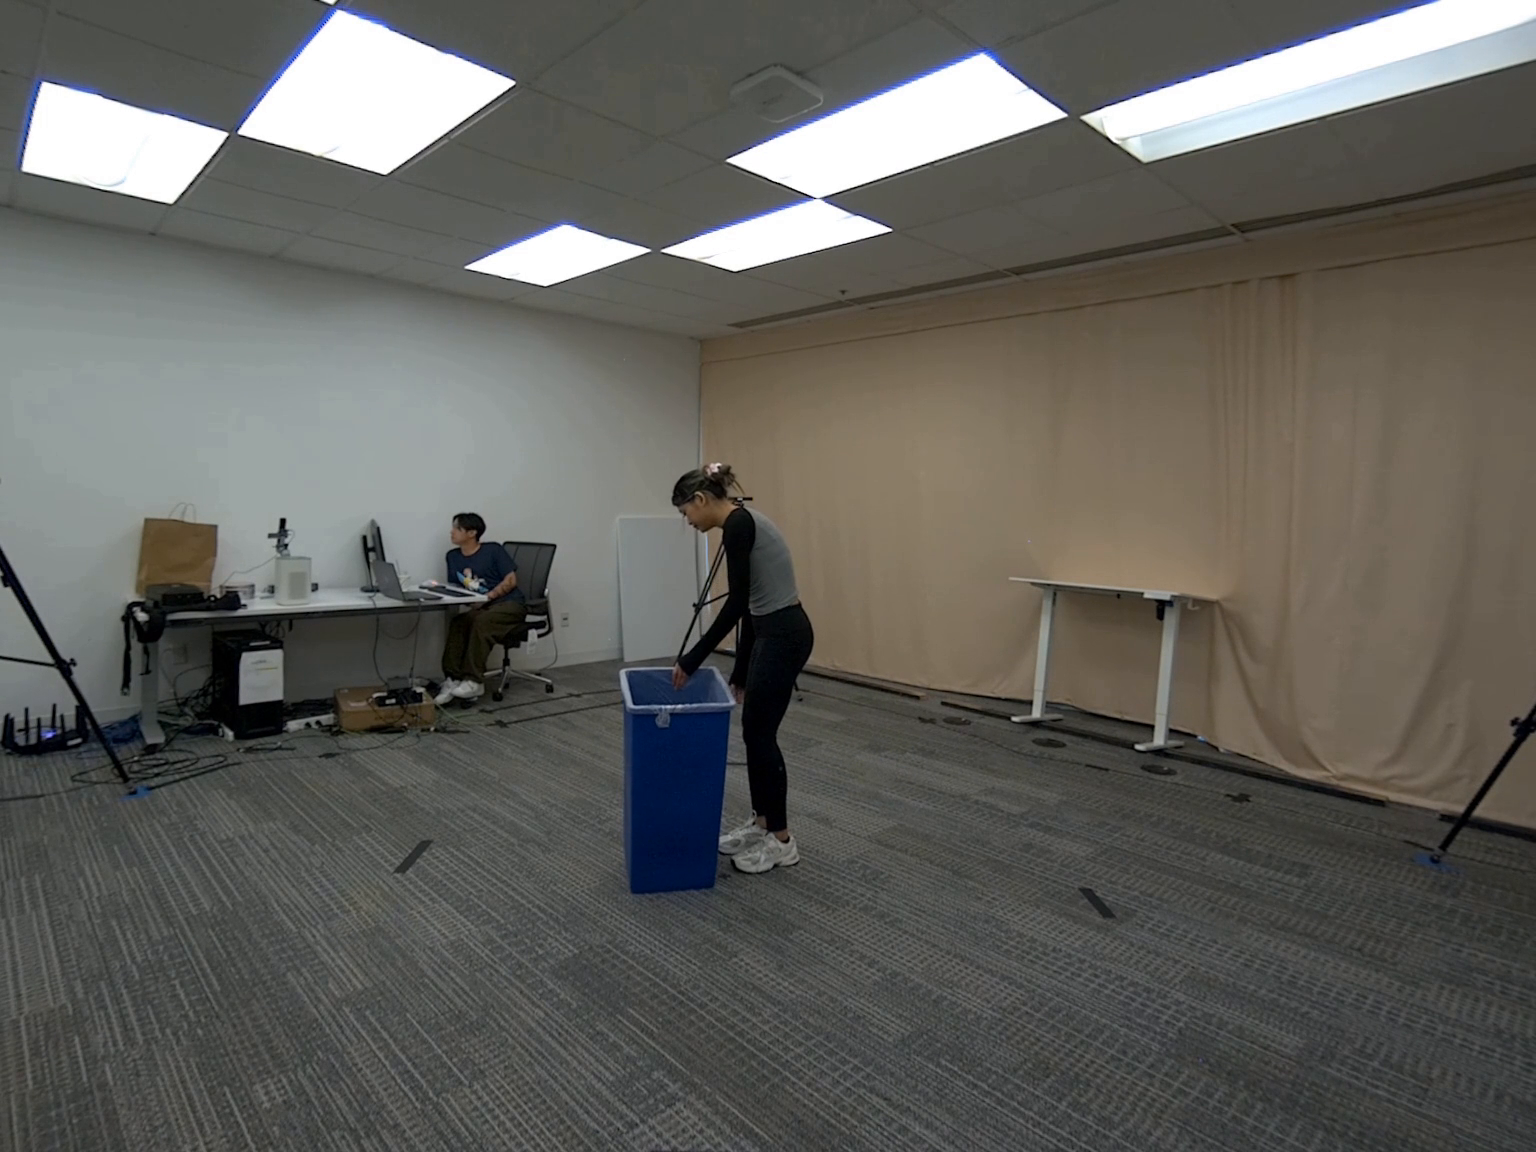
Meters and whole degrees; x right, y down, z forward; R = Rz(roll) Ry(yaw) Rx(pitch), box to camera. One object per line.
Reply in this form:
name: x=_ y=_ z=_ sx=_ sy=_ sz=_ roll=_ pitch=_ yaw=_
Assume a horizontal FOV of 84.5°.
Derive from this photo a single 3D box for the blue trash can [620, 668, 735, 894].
blue trash can: x=-0.358 y=0.731 z=3.042 sx=0.374 sy=0.707 sz=0.381 roll=1 pitch=13 yaw=-13
